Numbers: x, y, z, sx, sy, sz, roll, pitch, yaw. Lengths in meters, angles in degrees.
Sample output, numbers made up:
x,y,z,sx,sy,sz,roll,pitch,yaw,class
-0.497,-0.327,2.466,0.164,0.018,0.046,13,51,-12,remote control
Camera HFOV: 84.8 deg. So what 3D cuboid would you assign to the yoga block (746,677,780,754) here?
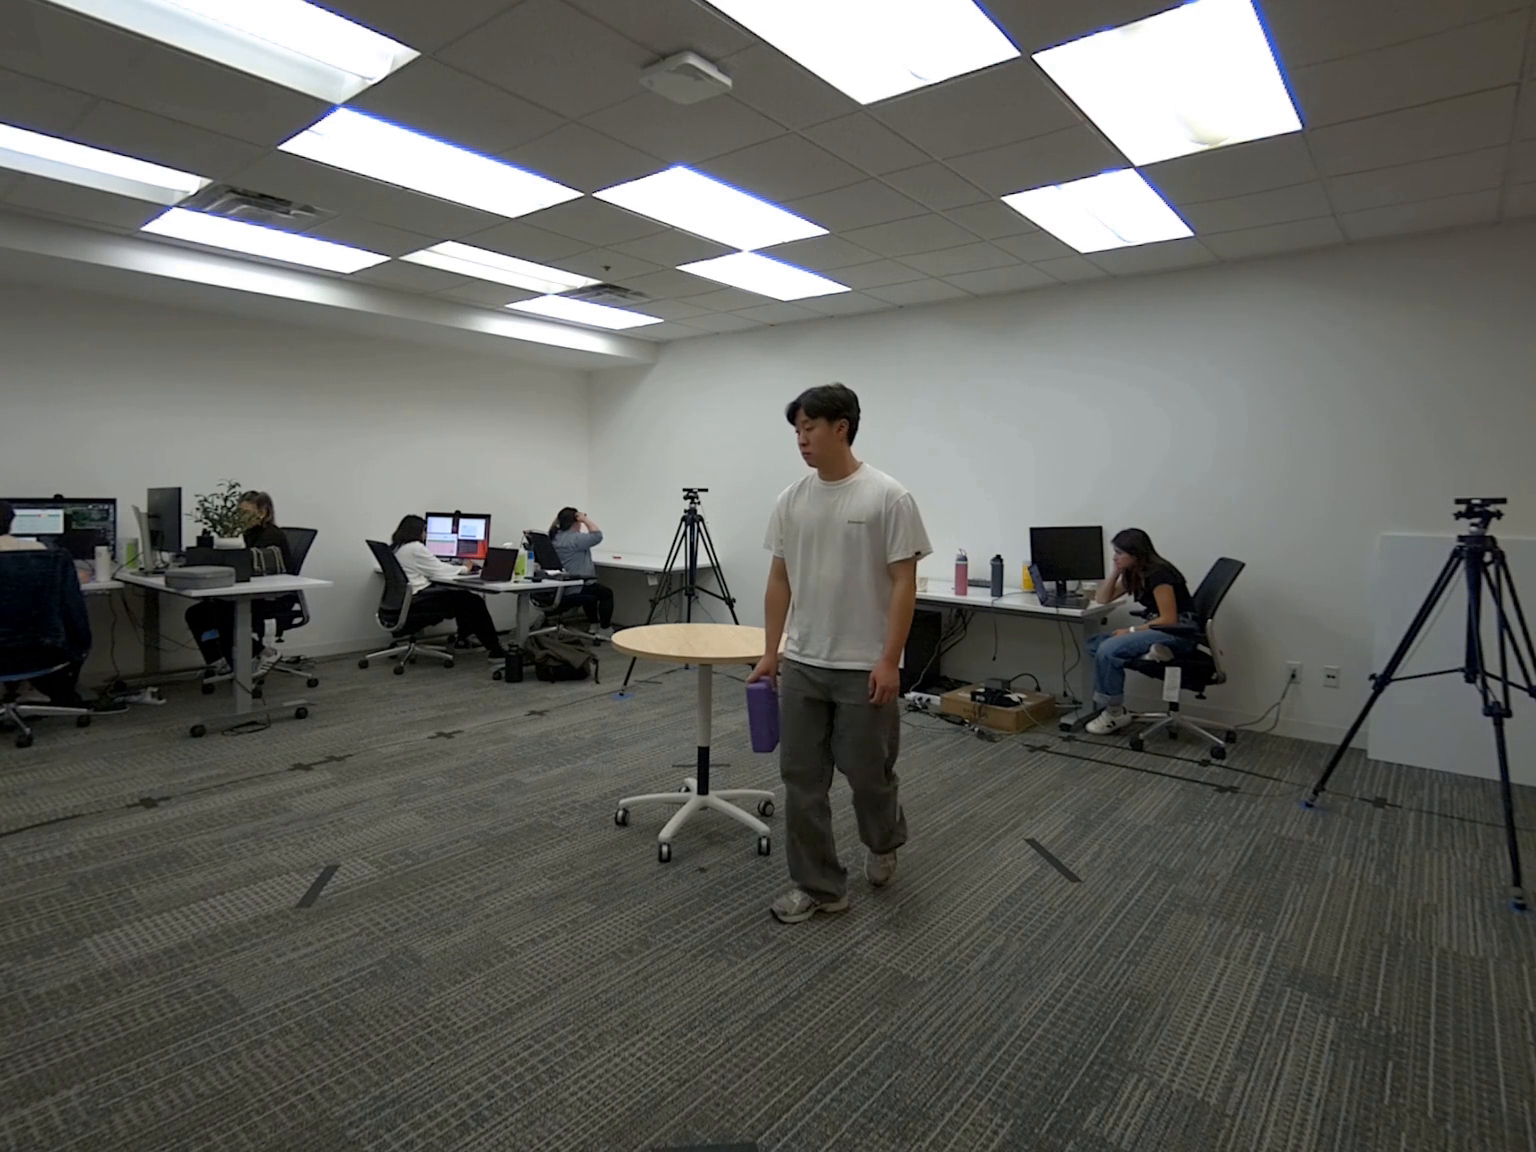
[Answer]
x,y,z,sx,sy,sz,roll,pitch,yaw,class
-0.014,0.458,2.917,0.078,0.228,0.147,-2,4,16,yoga block
